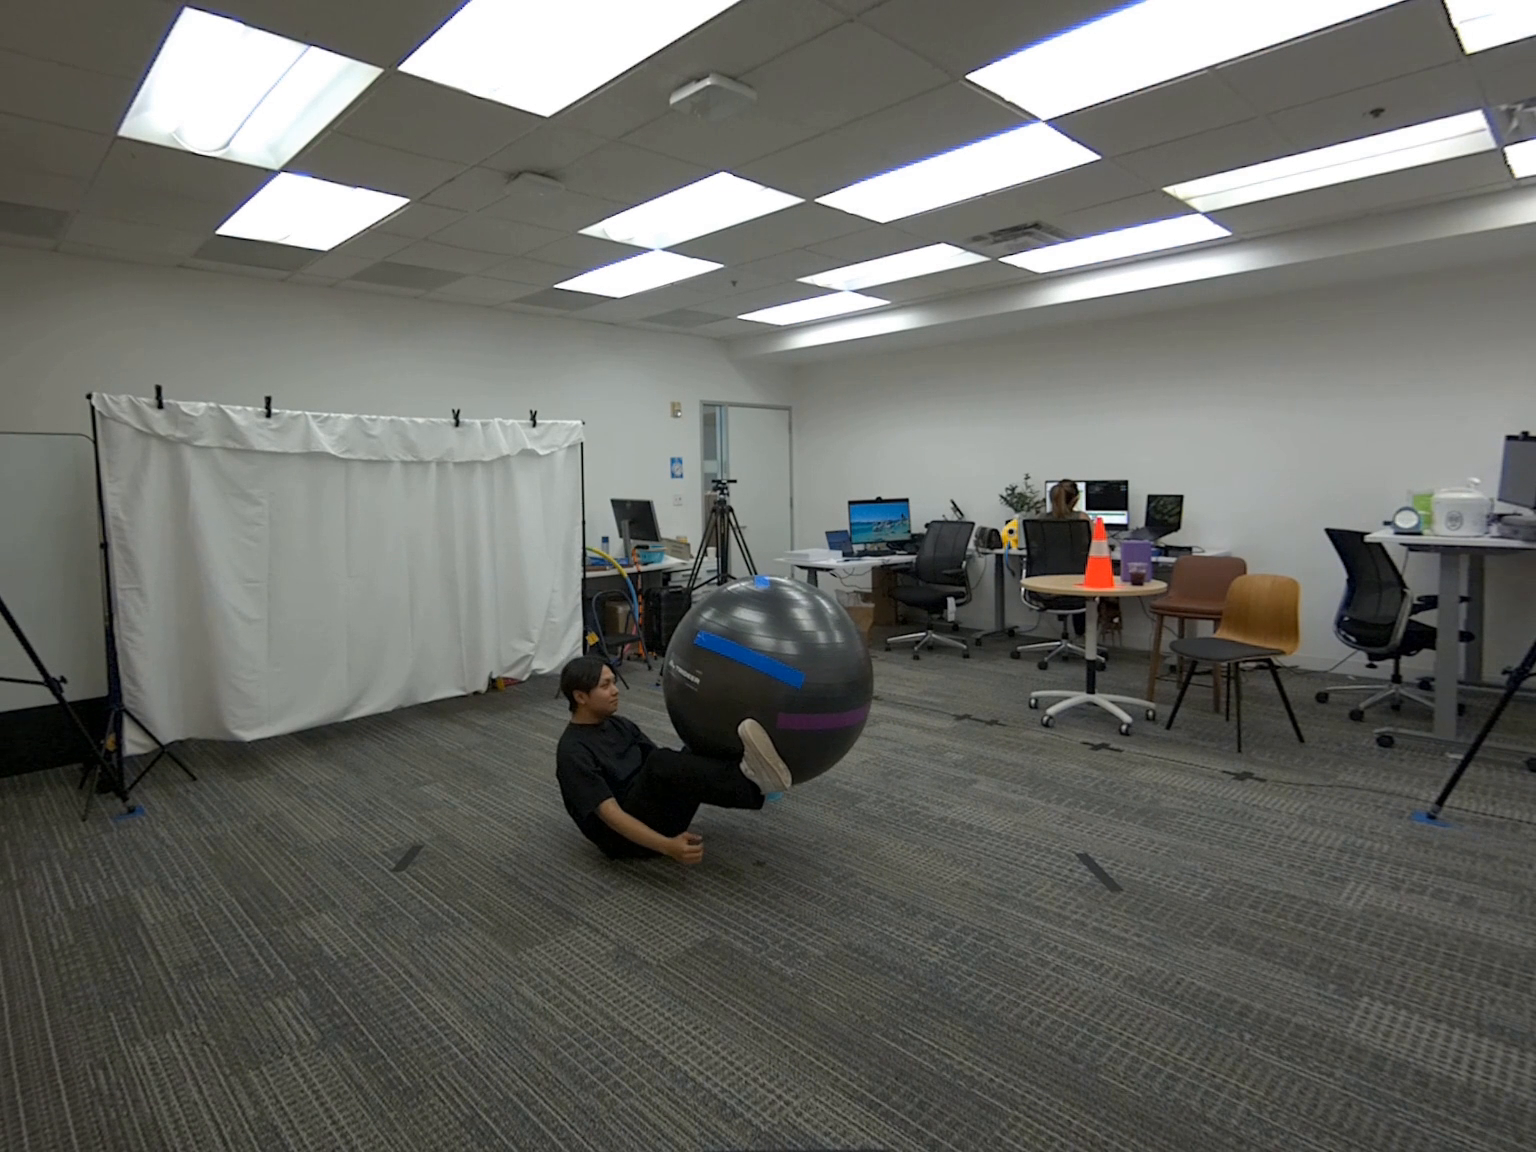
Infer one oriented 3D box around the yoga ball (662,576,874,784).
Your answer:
[{"bbox_3d":[-0.003,0.378,3.114,0.757,0.755,0.762,-1,5,-2],"label":"yoga ball"}]
